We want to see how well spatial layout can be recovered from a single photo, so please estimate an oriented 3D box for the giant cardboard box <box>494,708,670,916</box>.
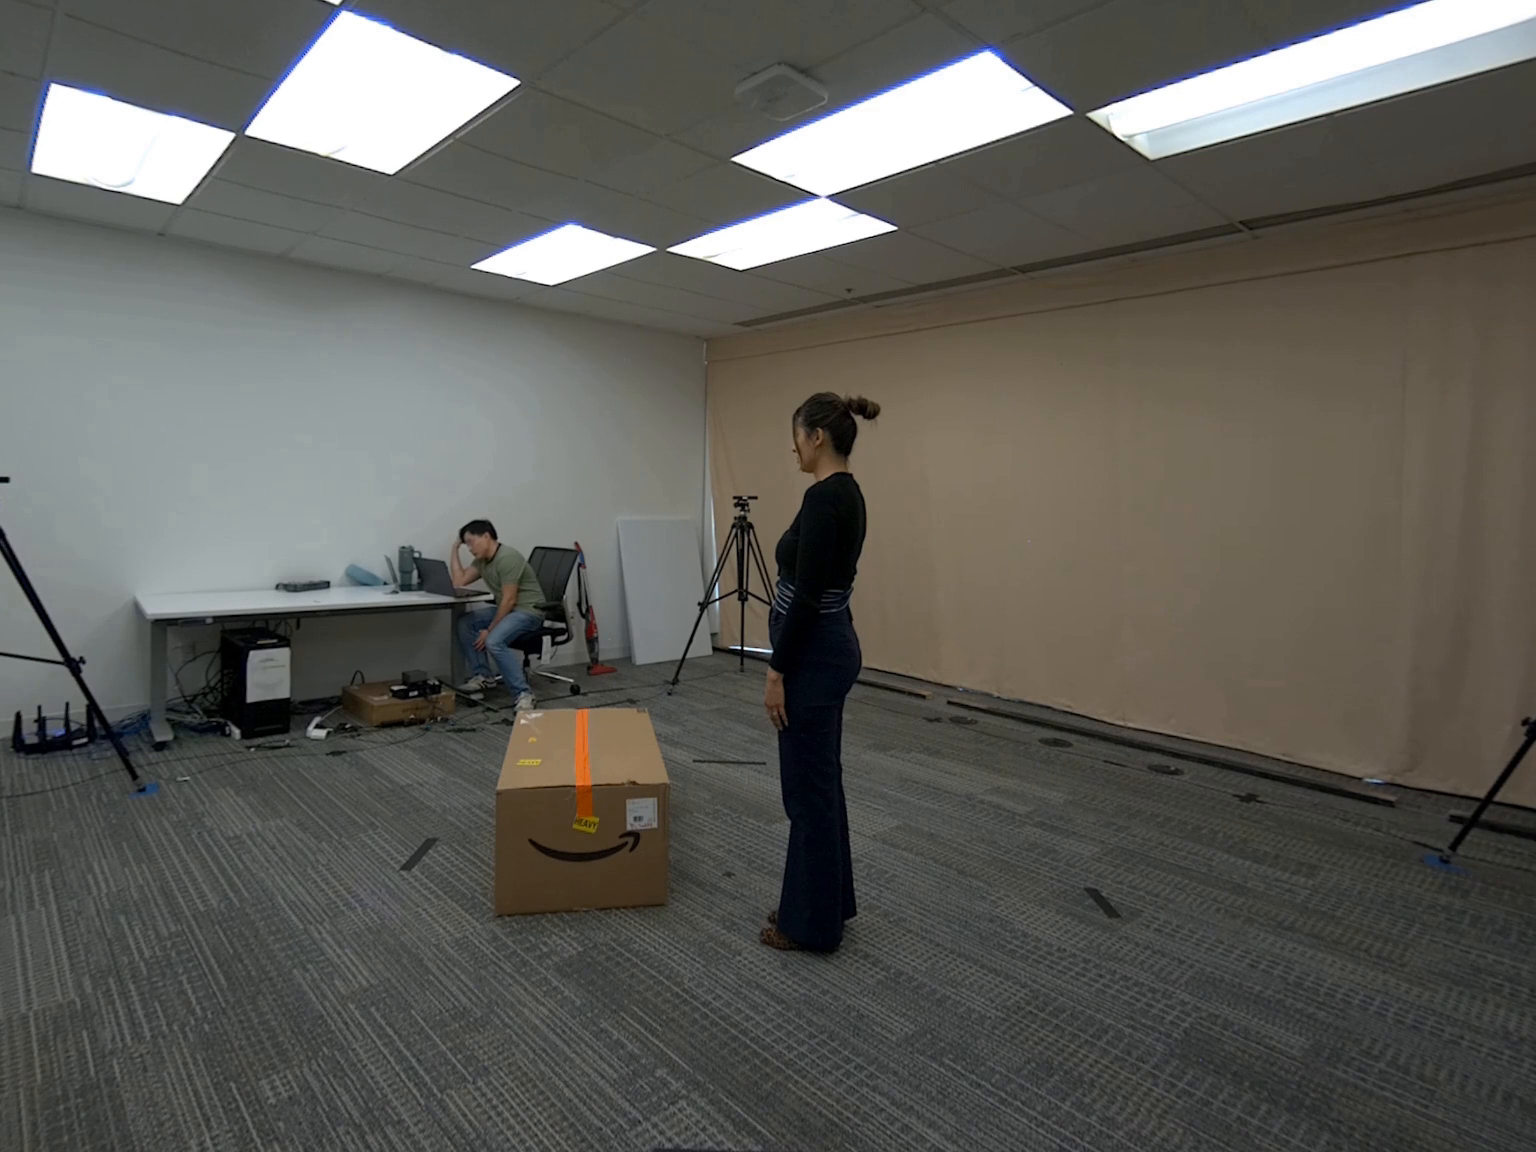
[{"bbox_3d":[-0.732,0.857,3.302,0.572,0.425,1.038,0,5,-12],"label":"giant cardboard box"}]
